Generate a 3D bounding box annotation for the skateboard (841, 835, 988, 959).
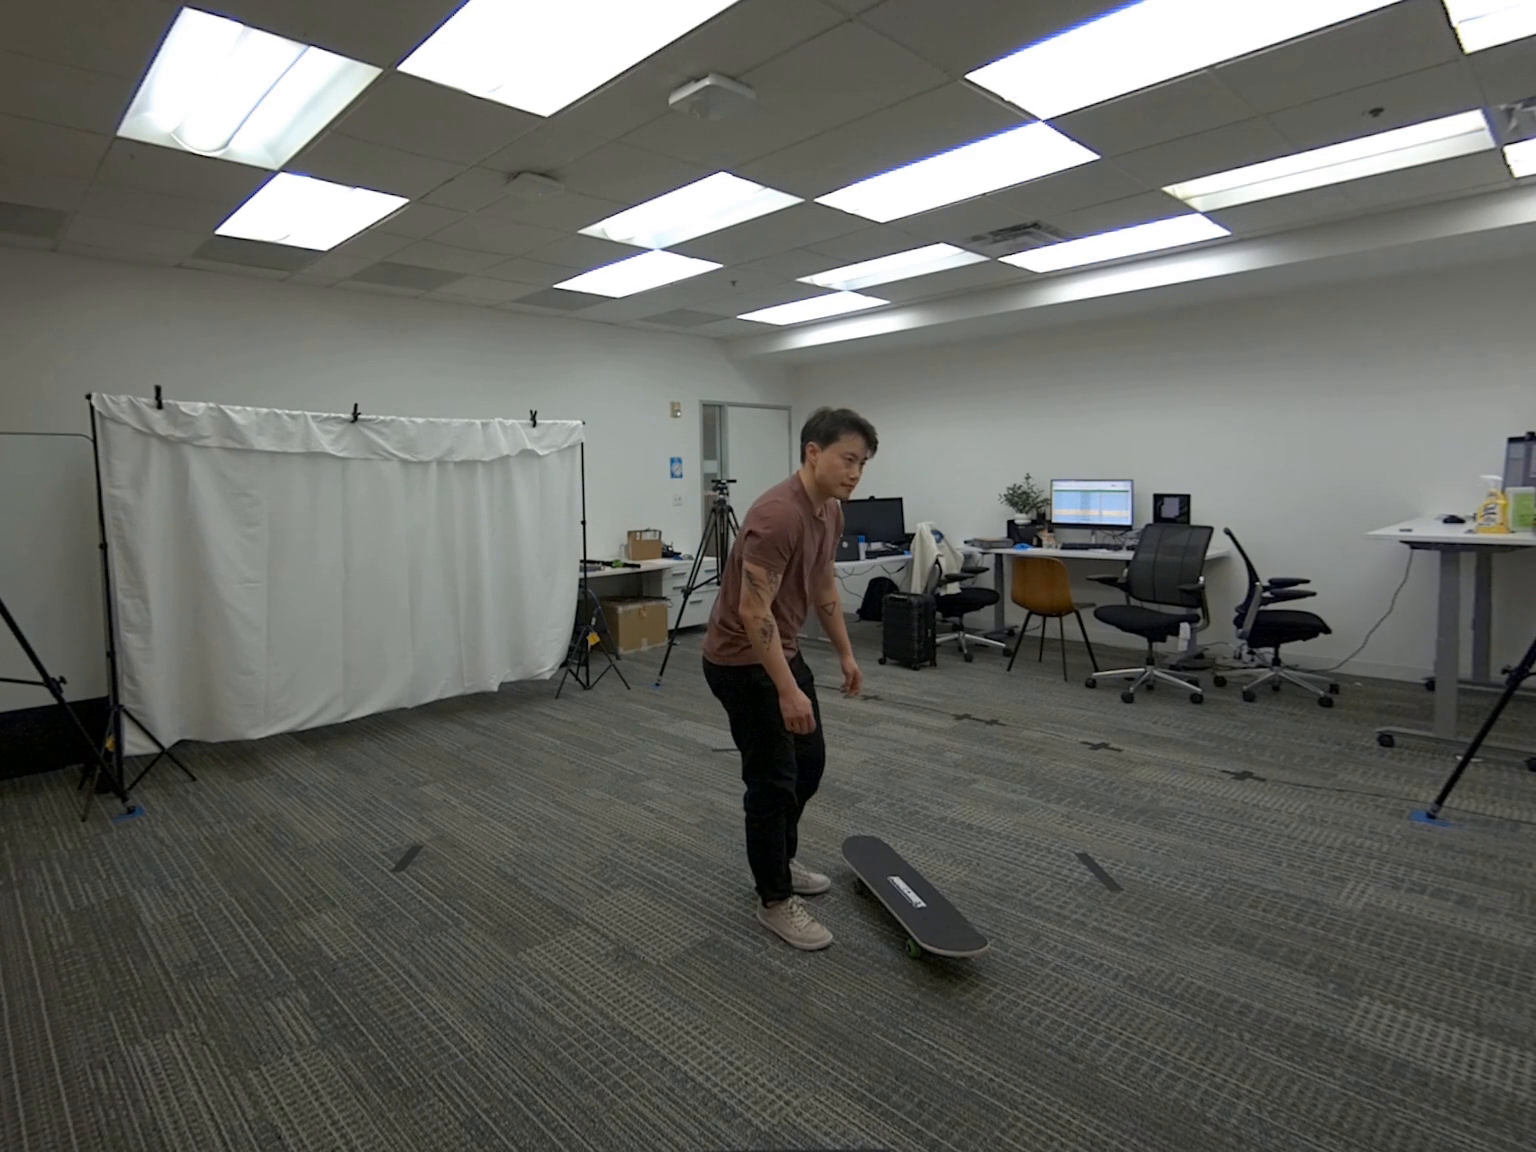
[{"bbox_3d":[0.439,1.028,2.695,0.191,0.110,0.800,-3,7,-16],"label":"skateboard"}]
